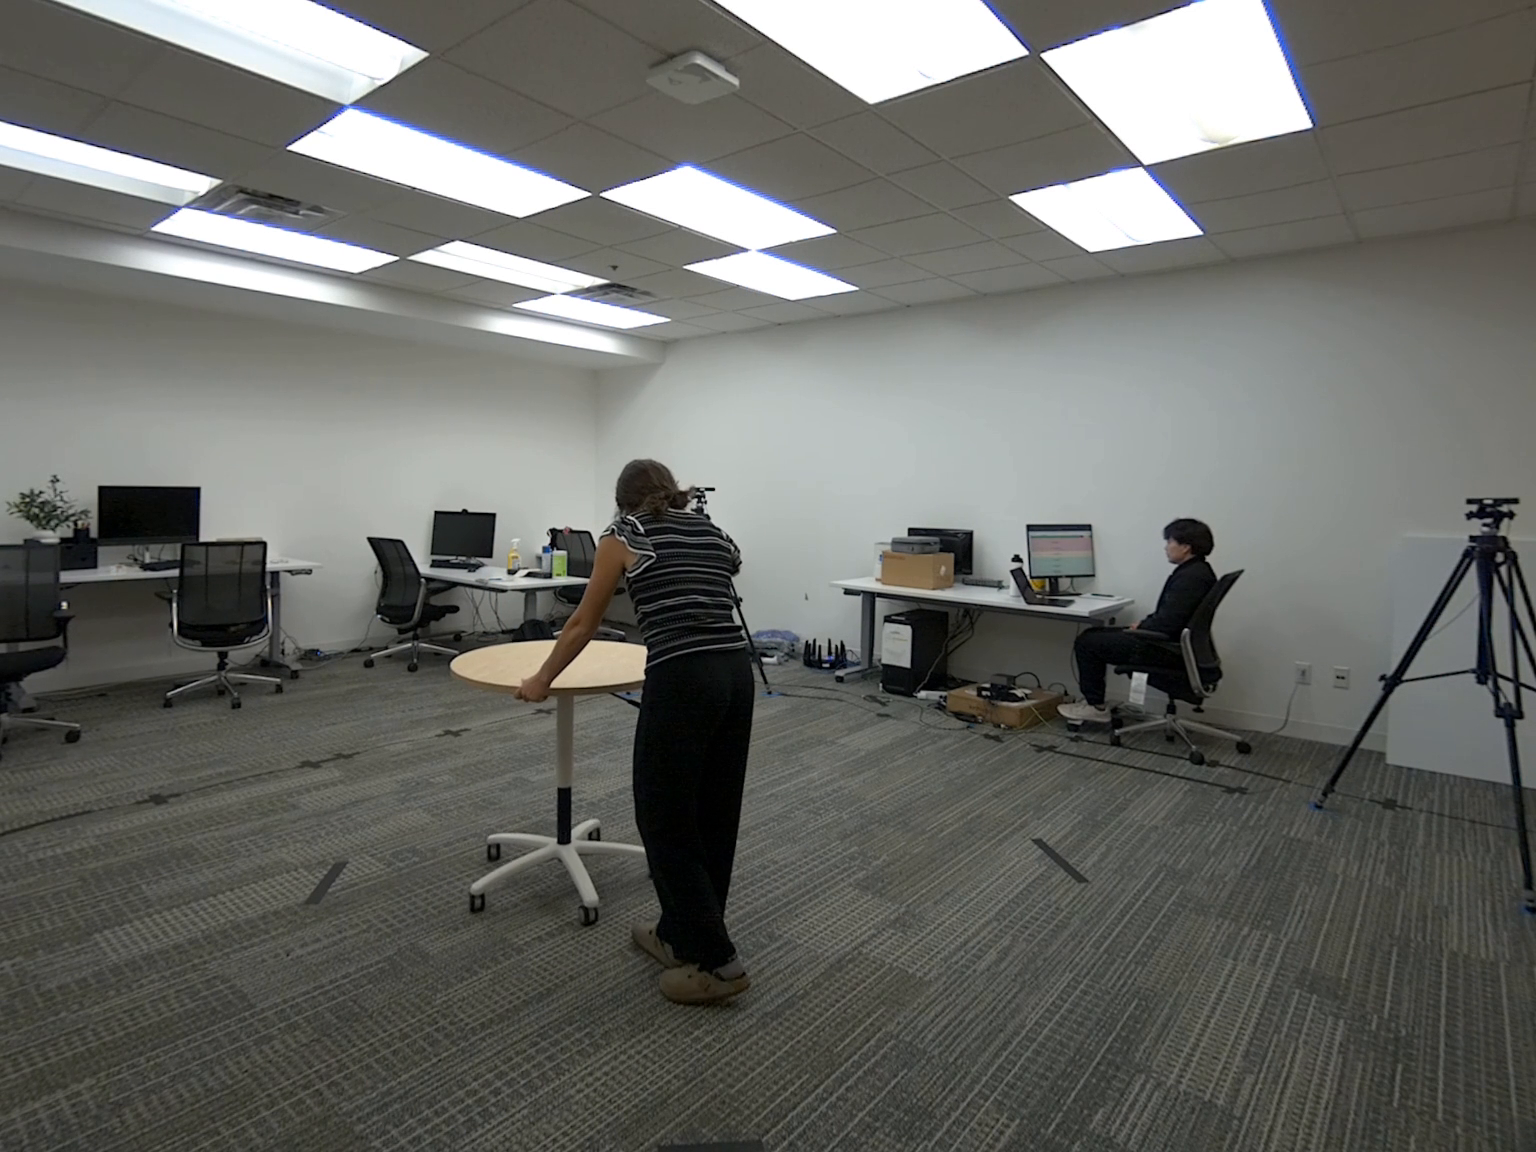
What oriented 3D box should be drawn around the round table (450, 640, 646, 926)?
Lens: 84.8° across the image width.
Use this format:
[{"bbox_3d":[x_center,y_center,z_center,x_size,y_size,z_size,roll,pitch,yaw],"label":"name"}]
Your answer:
[{"bbox_3d":[-0.723,0.683,2.976,0.763,0.791,0.768,1,5,-2],"label":"round table"}]
